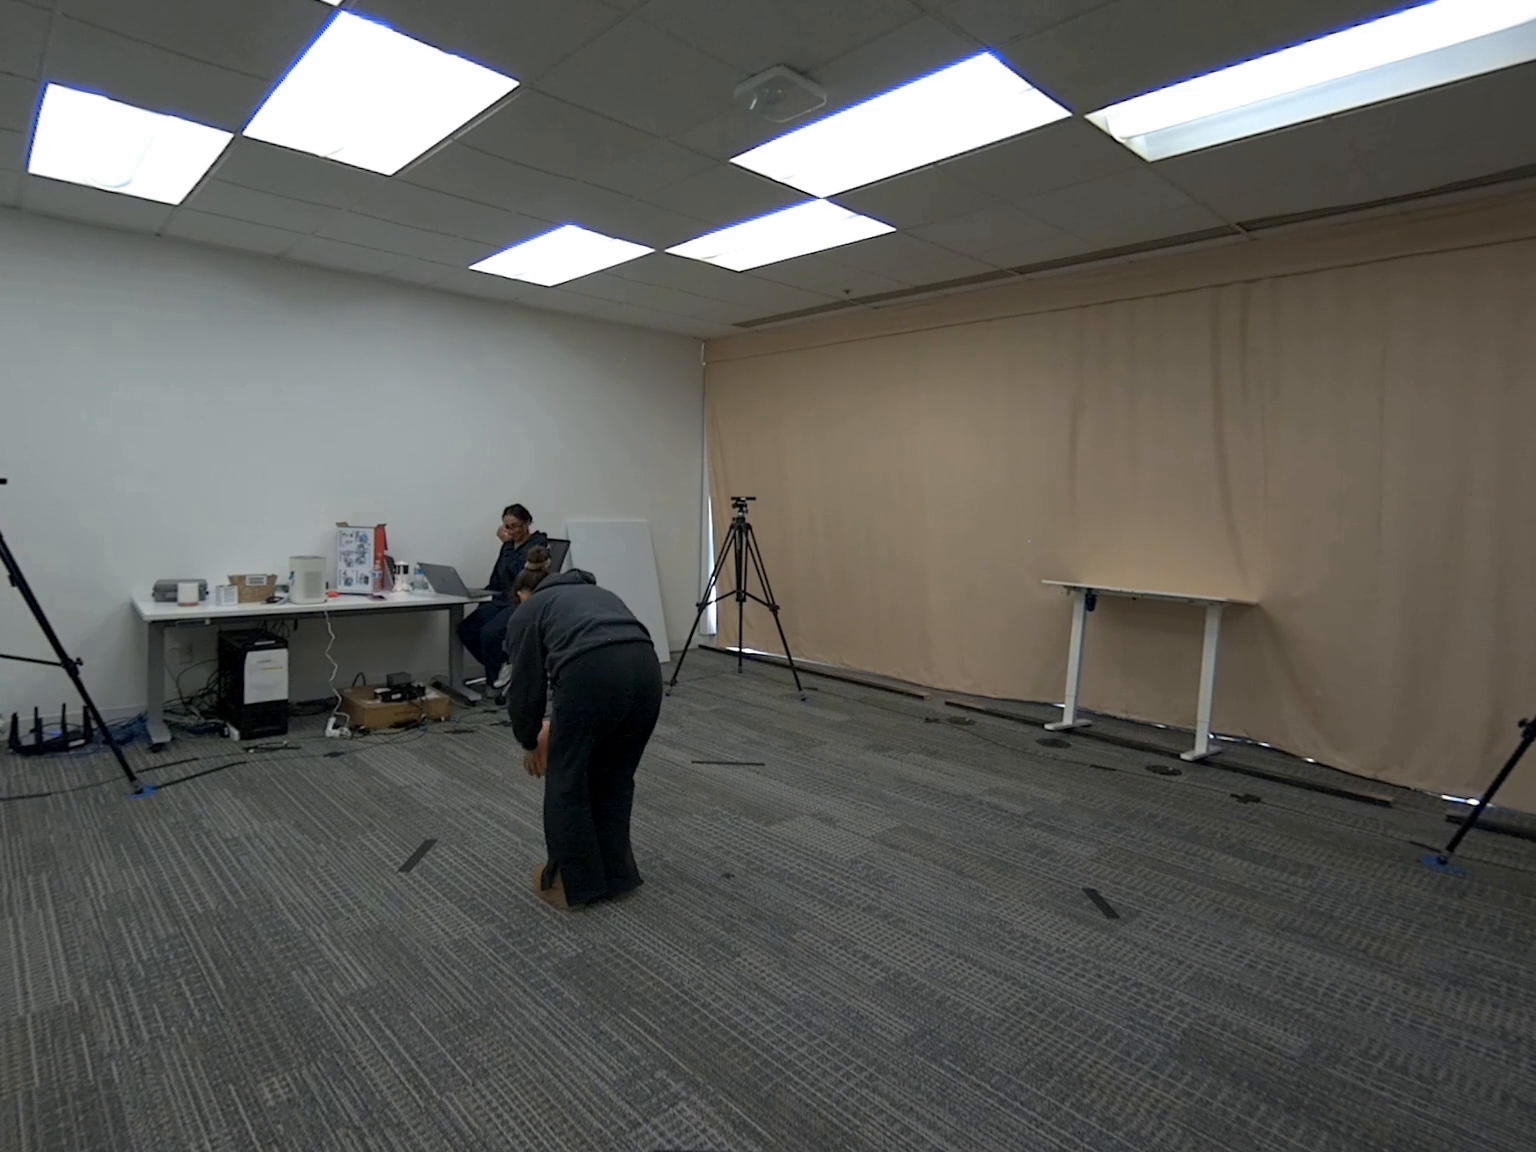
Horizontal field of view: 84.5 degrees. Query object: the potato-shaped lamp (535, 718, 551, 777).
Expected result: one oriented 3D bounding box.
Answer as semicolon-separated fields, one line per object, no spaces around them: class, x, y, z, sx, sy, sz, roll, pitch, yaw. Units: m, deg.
potato-shaped lamp;-0.825;0.659;3.170;0.167;0.196;0.171;30;30;13
